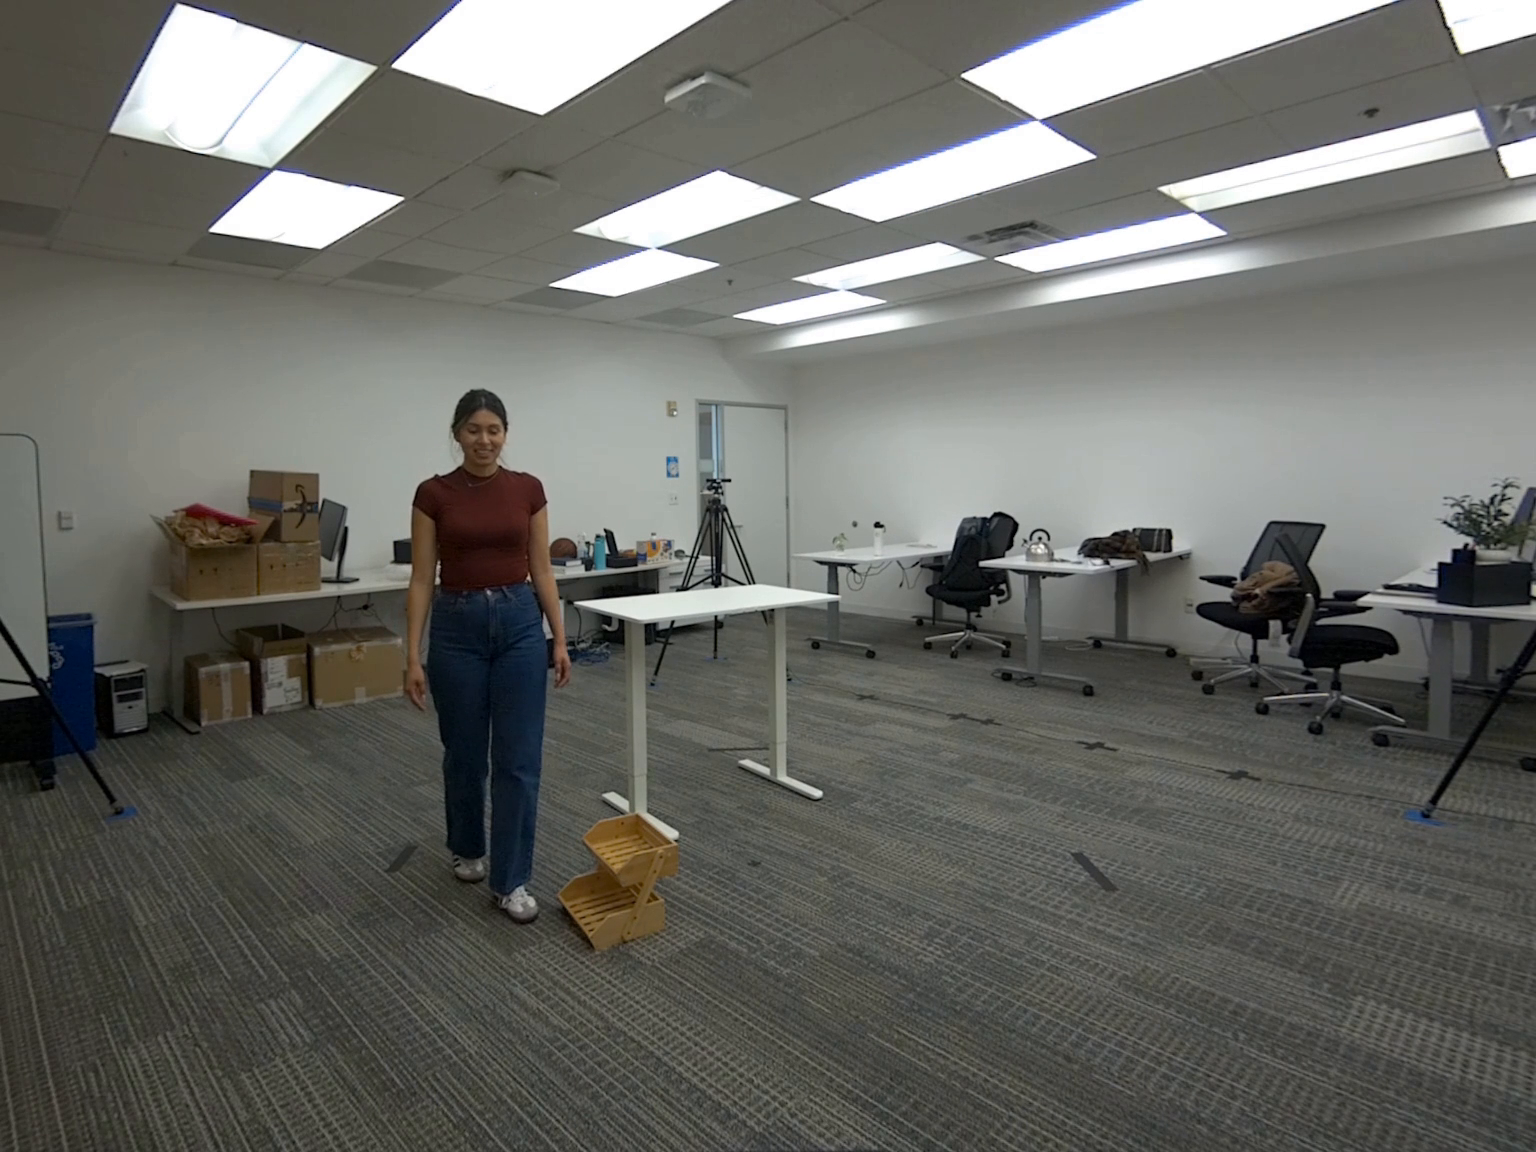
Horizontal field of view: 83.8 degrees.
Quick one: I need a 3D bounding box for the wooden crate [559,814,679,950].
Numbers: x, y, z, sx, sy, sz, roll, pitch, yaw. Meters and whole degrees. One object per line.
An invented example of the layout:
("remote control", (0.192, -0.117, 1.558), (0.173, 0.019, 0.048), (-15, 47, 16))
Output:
("wooden crate", (-0.487, 0.958, 2.733), (0.295, 0.272, 0.333), (-4, 6, -31))
